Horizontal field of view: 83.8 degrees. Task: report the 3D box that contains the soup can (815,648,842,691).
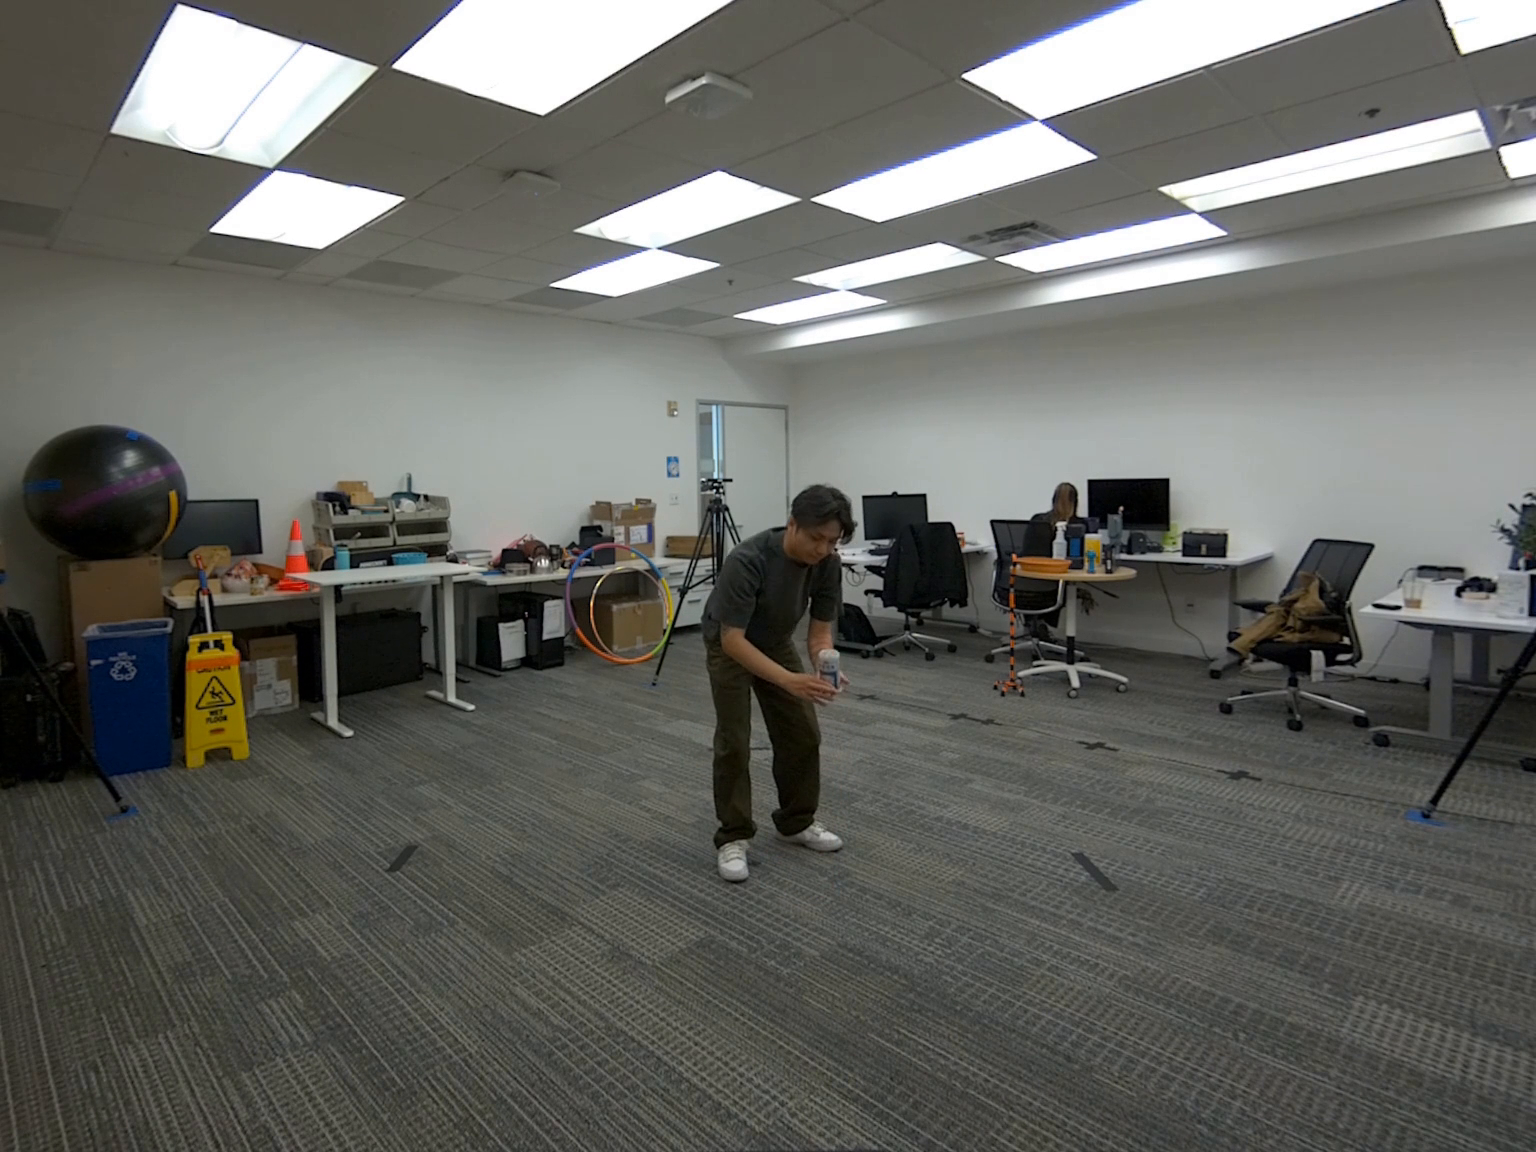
[{"bbox_3d":[0.192,0.317,2.830,0.067,0.119,0.068,-7,21,1],"label":"soup can"}]
